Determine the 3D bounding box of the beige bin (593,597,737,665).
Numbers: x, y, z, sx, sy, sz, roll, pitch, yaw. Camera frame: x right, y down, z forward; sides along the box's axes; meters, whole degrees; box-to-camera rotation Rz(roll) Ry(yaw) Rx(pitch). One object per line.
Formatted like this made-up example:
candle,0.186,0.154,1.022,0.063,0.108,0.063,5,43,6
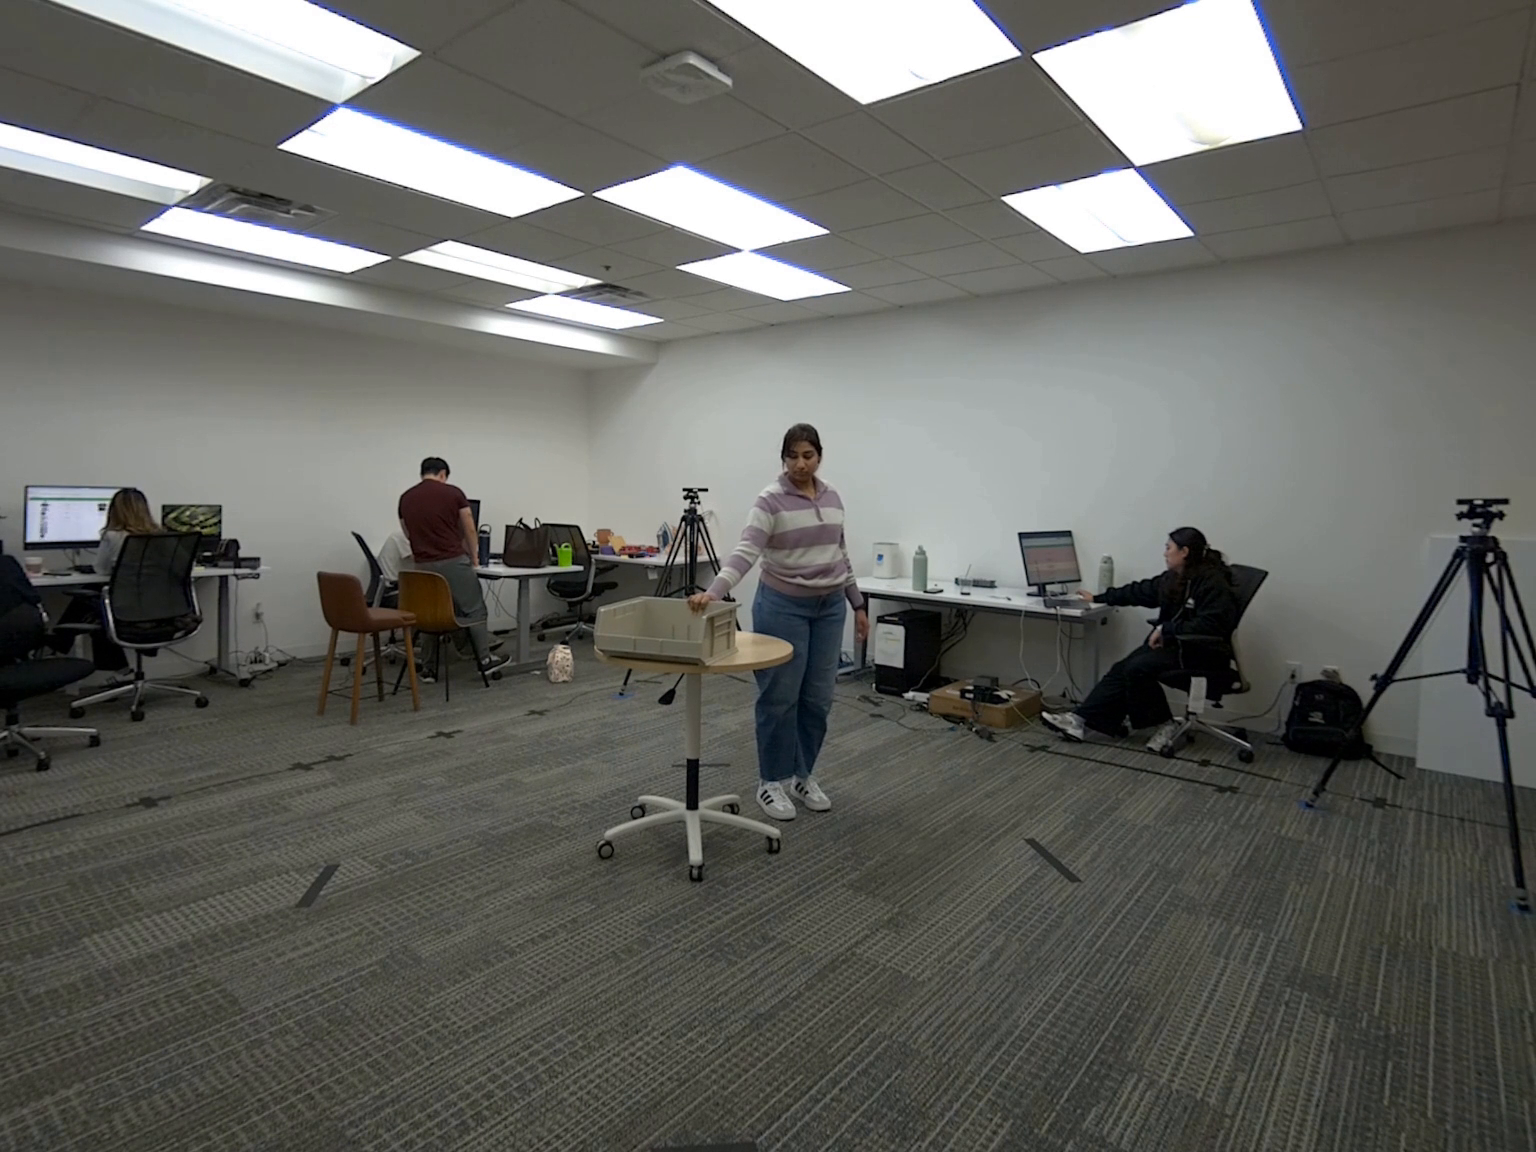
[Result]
beige bin,-0.371,0.196,3.100,0.431,0.188,0.370,2,3,20
